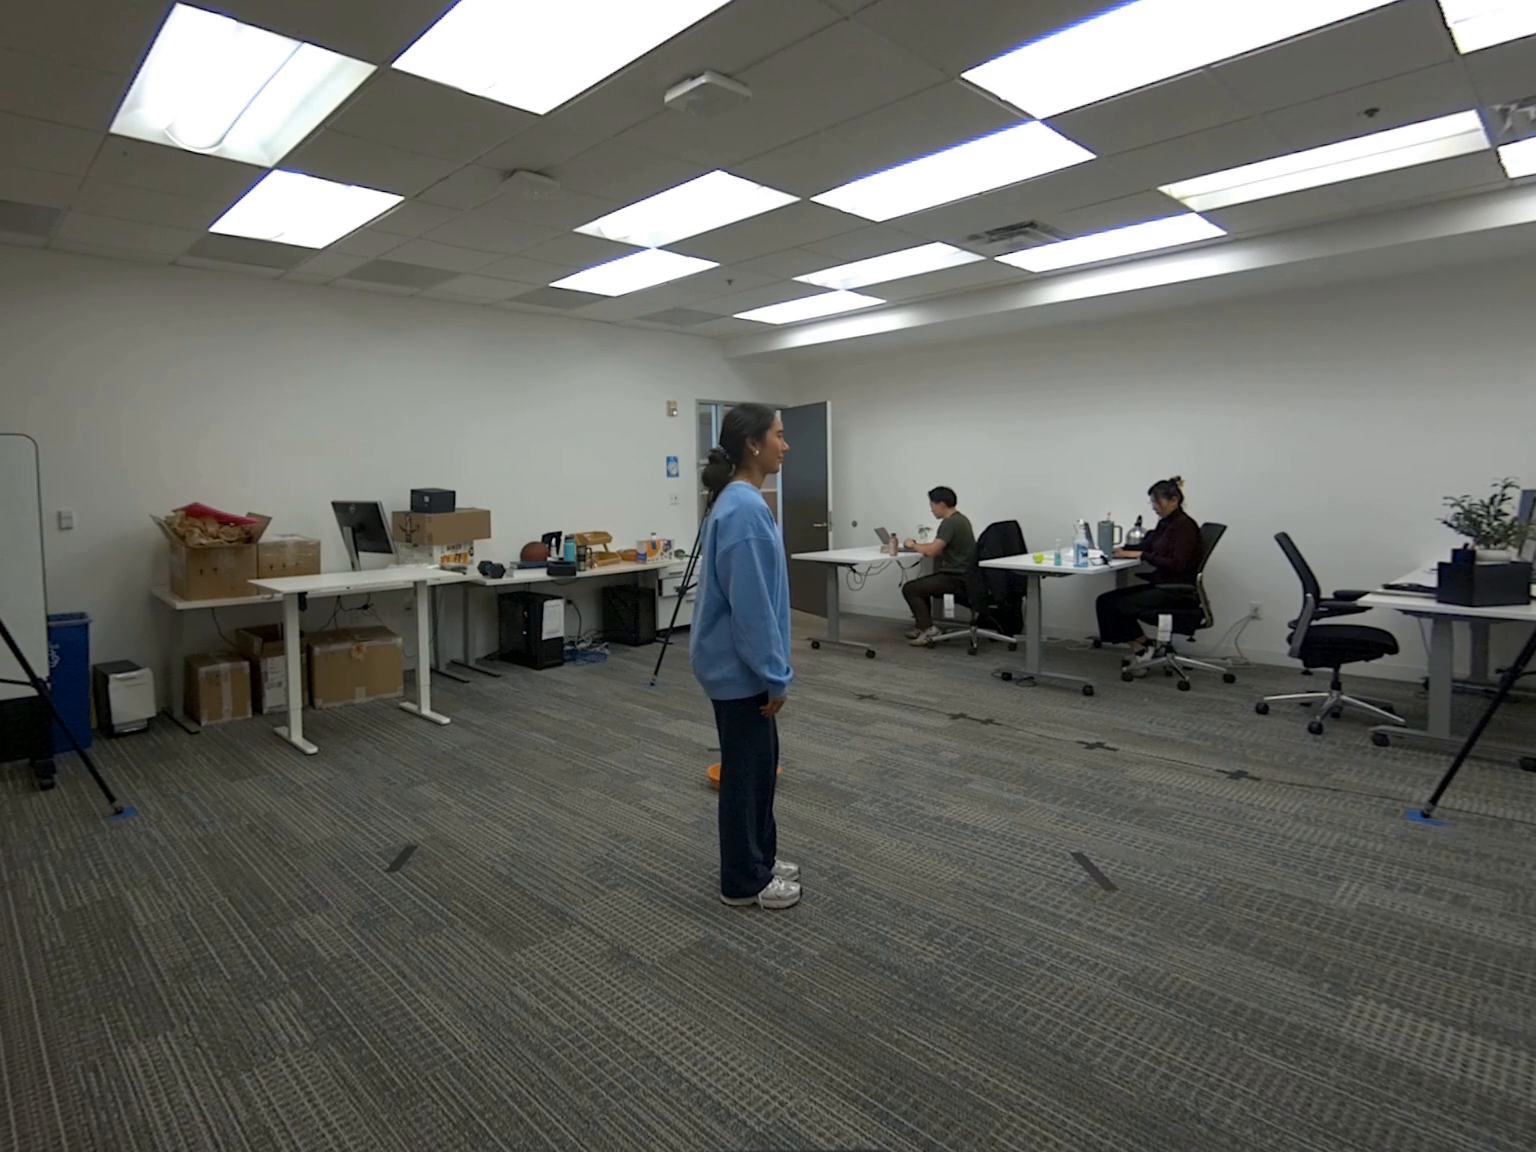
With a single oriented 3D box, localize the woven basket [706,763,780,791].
[{"bbox_3d":[-0.104,0.919,3.906,0.344,0.073,0.258,-3,8,-19],"label":"woven basket"}]
